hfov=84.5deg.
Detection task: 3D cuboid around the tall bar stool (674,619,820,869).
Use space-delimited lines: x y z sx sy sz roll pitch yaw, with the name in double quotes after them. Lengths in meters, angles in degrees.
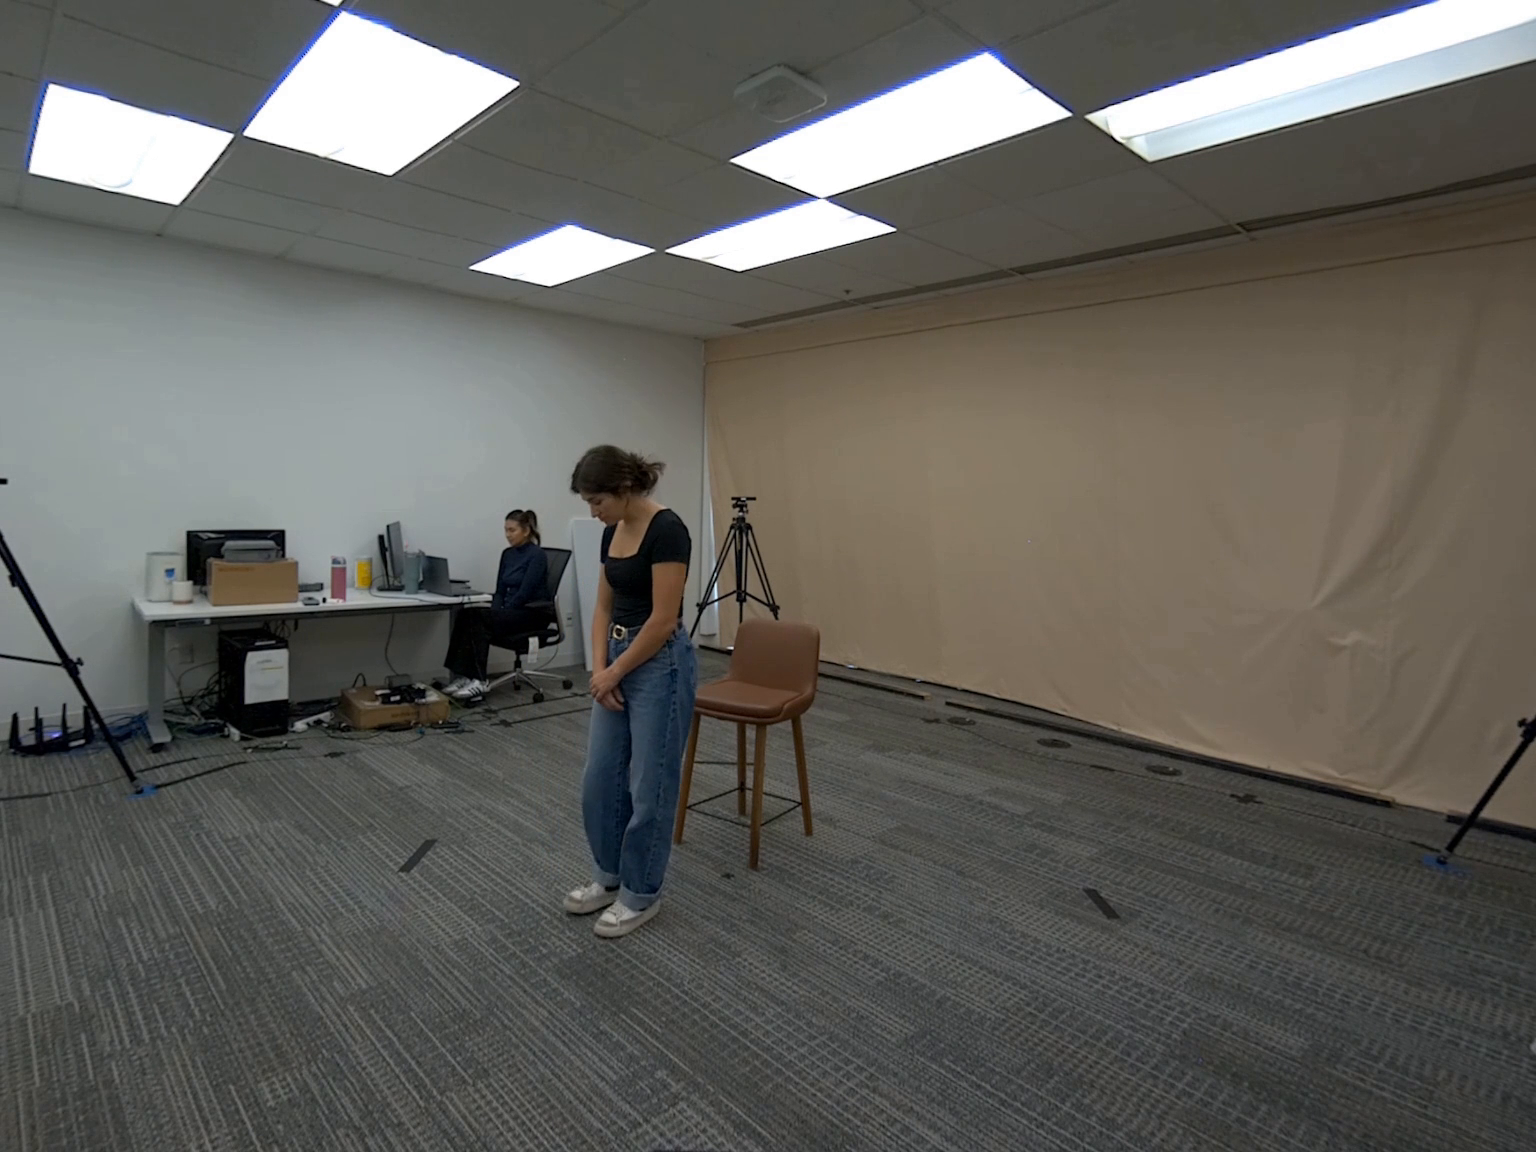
-0.080 0.645 3.429 0.467 0.889 0.457 4 2 36 "tall bar stool"
